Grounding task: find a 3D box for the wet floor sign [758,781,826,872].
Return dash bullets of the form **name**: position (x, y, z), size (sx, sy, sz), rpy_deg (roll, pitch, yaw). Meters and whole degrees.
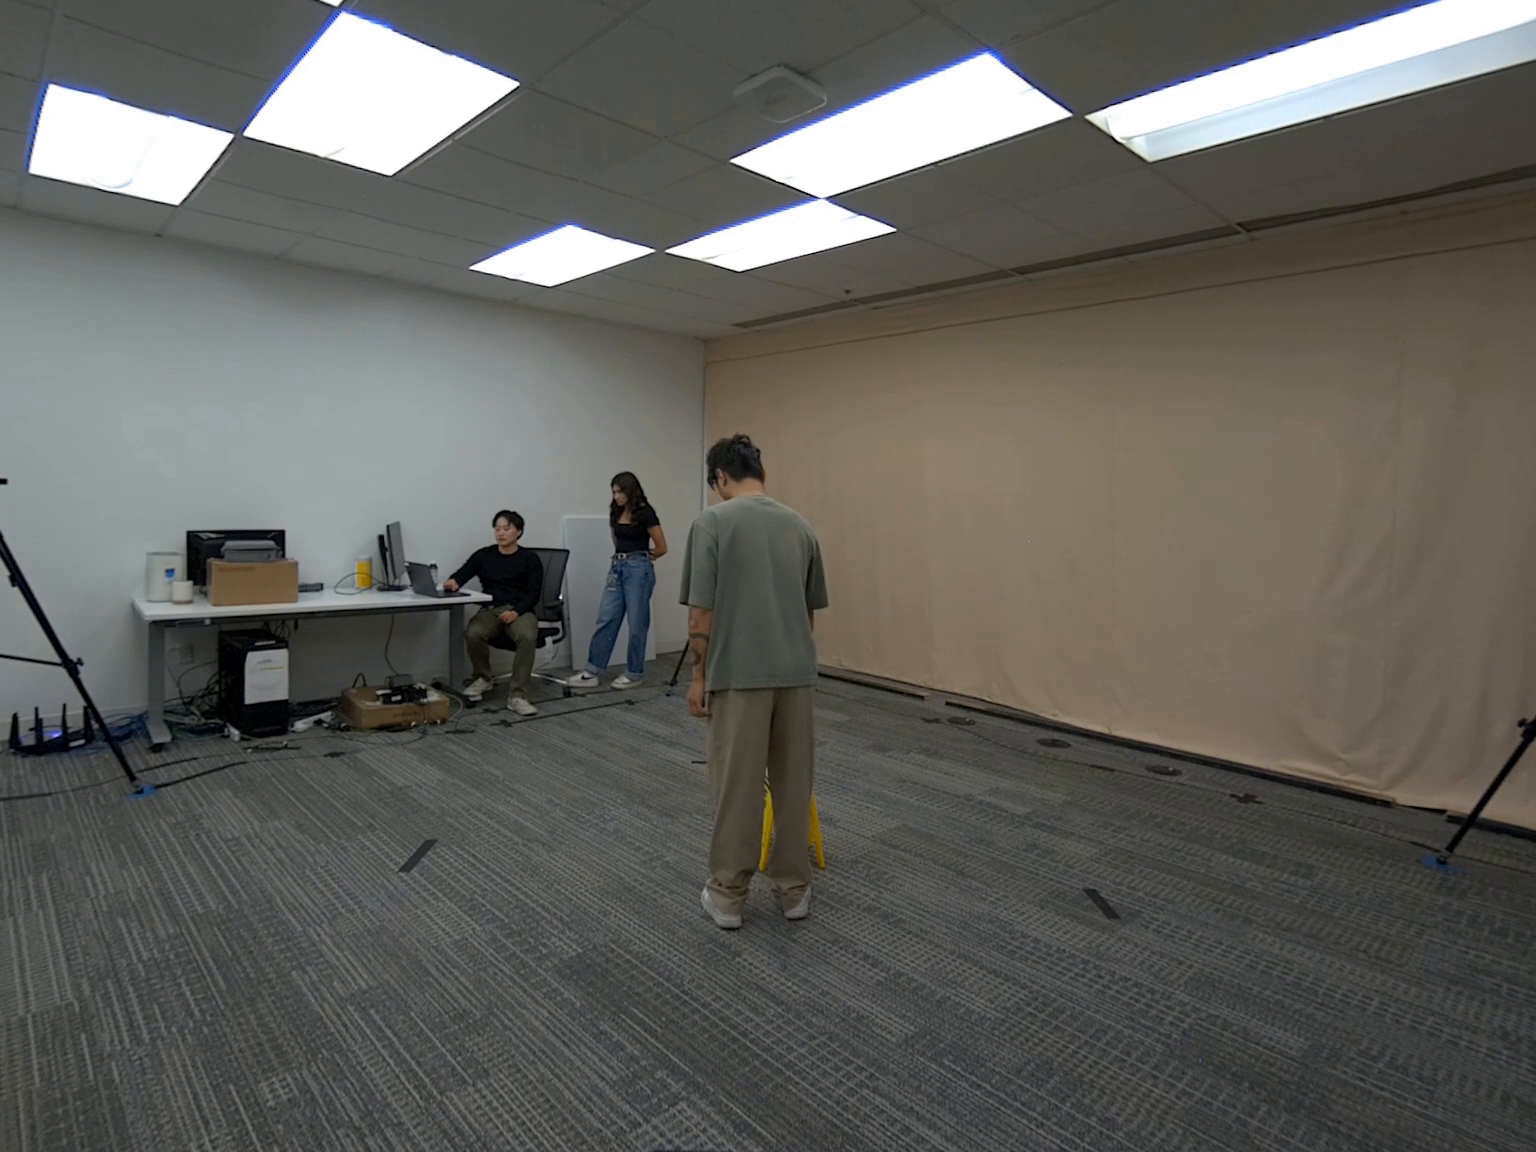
- **wet floor sign**: position (0.072, 0.771, 3.284), size (0.288, 0.645, 0.285), rpy_deg (1, 3, -9)
